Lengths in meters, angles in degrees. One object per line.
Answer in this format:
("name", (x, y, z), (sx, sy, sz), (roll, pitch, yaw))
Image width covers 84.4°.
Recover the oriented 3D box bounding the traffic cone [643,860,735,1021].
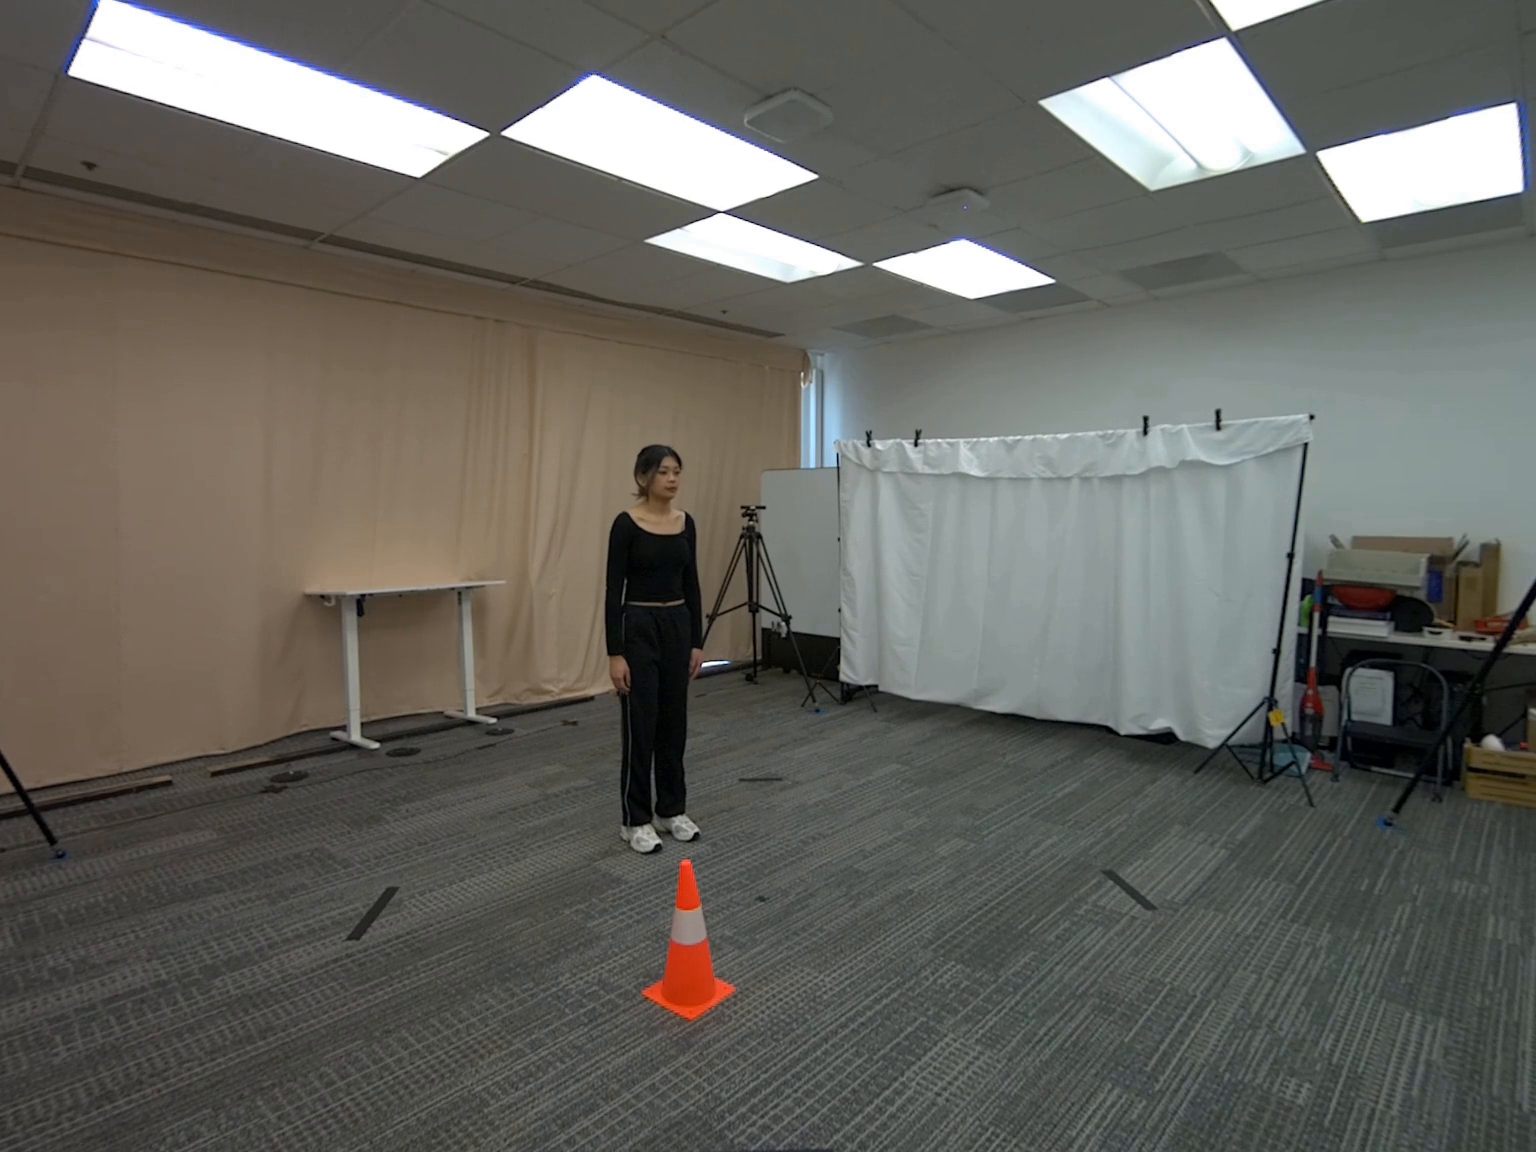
("traffic cone", (-0.225, 1.009, 2.402), (0.212, 0.383, 0.197), (2, 3, 43))
